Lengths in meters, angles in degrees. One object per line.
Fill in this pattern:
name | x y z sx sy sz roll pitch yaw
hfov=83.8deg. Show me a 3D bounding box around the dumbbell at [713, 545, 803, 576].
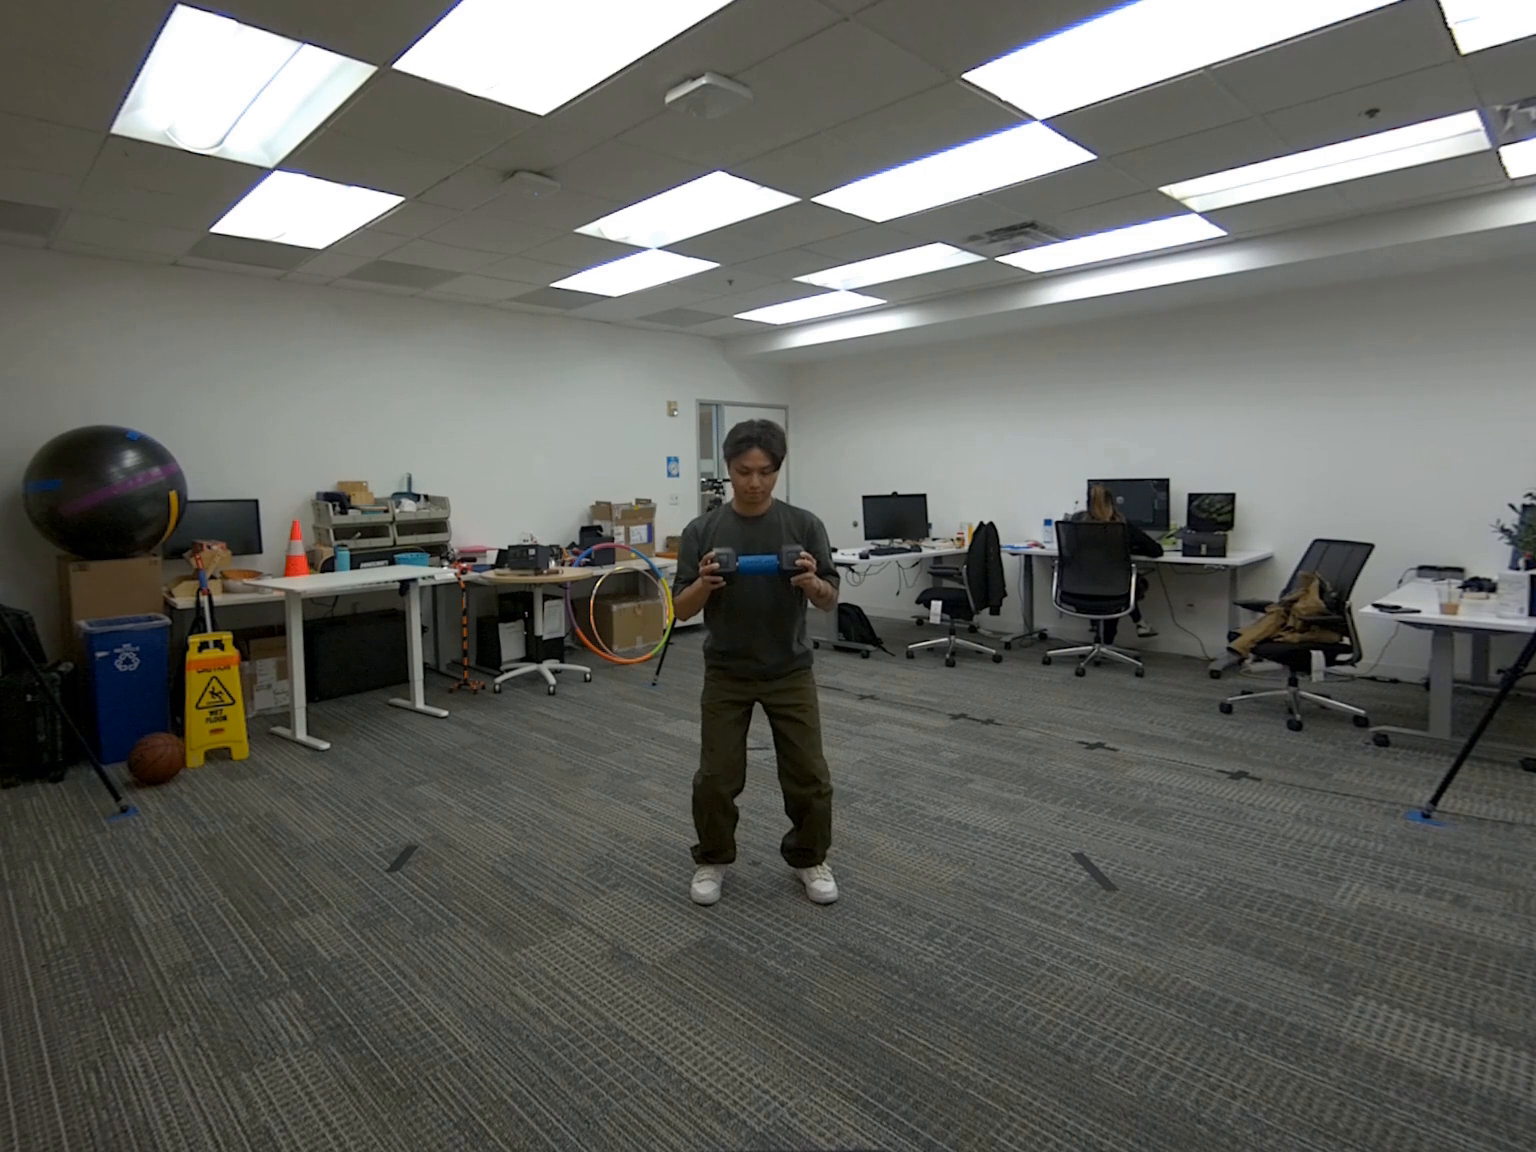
dumbbell | -0.055 -0.024 2.653 0.294 0.119 0.111 -4 42 3
